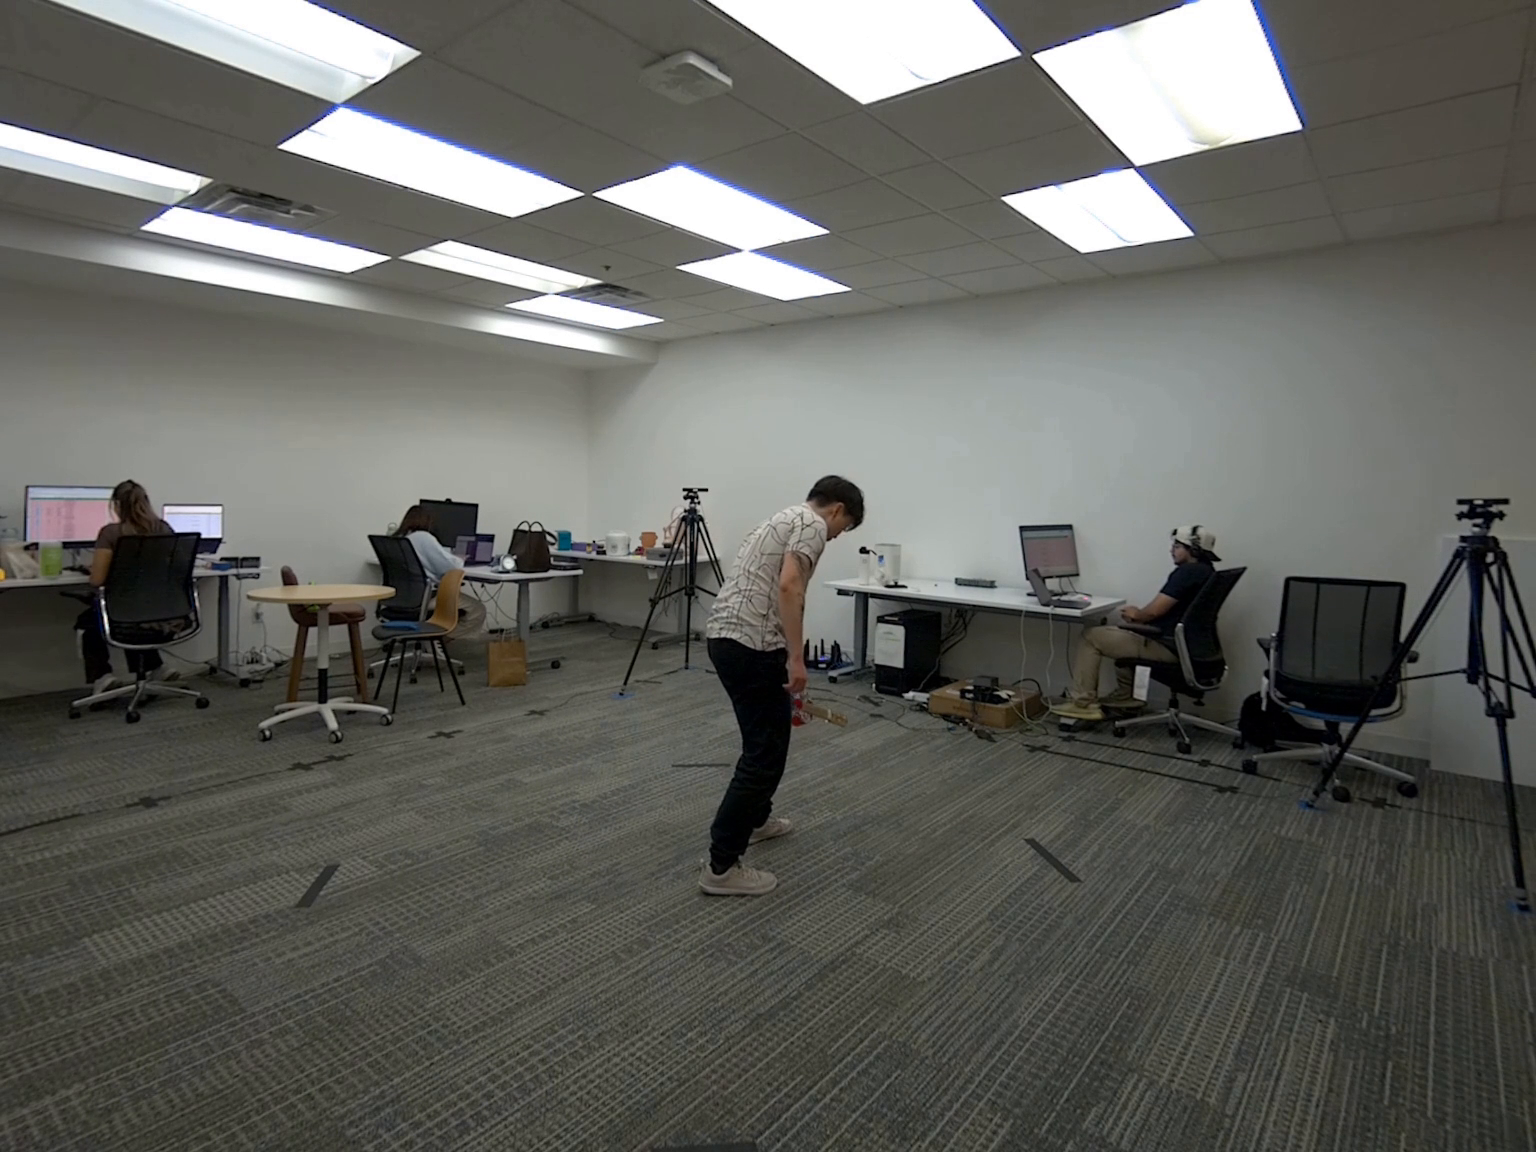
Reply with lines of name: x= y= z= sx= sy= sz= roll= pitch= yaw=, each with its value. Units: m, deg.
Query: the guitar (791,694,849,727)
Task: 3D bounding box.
guitar: x=0.159 y=0.589 z=3.611 sx=0.480 sy=0.197 sz=0.071 roll=33 pitch=-44 yaw=-30
